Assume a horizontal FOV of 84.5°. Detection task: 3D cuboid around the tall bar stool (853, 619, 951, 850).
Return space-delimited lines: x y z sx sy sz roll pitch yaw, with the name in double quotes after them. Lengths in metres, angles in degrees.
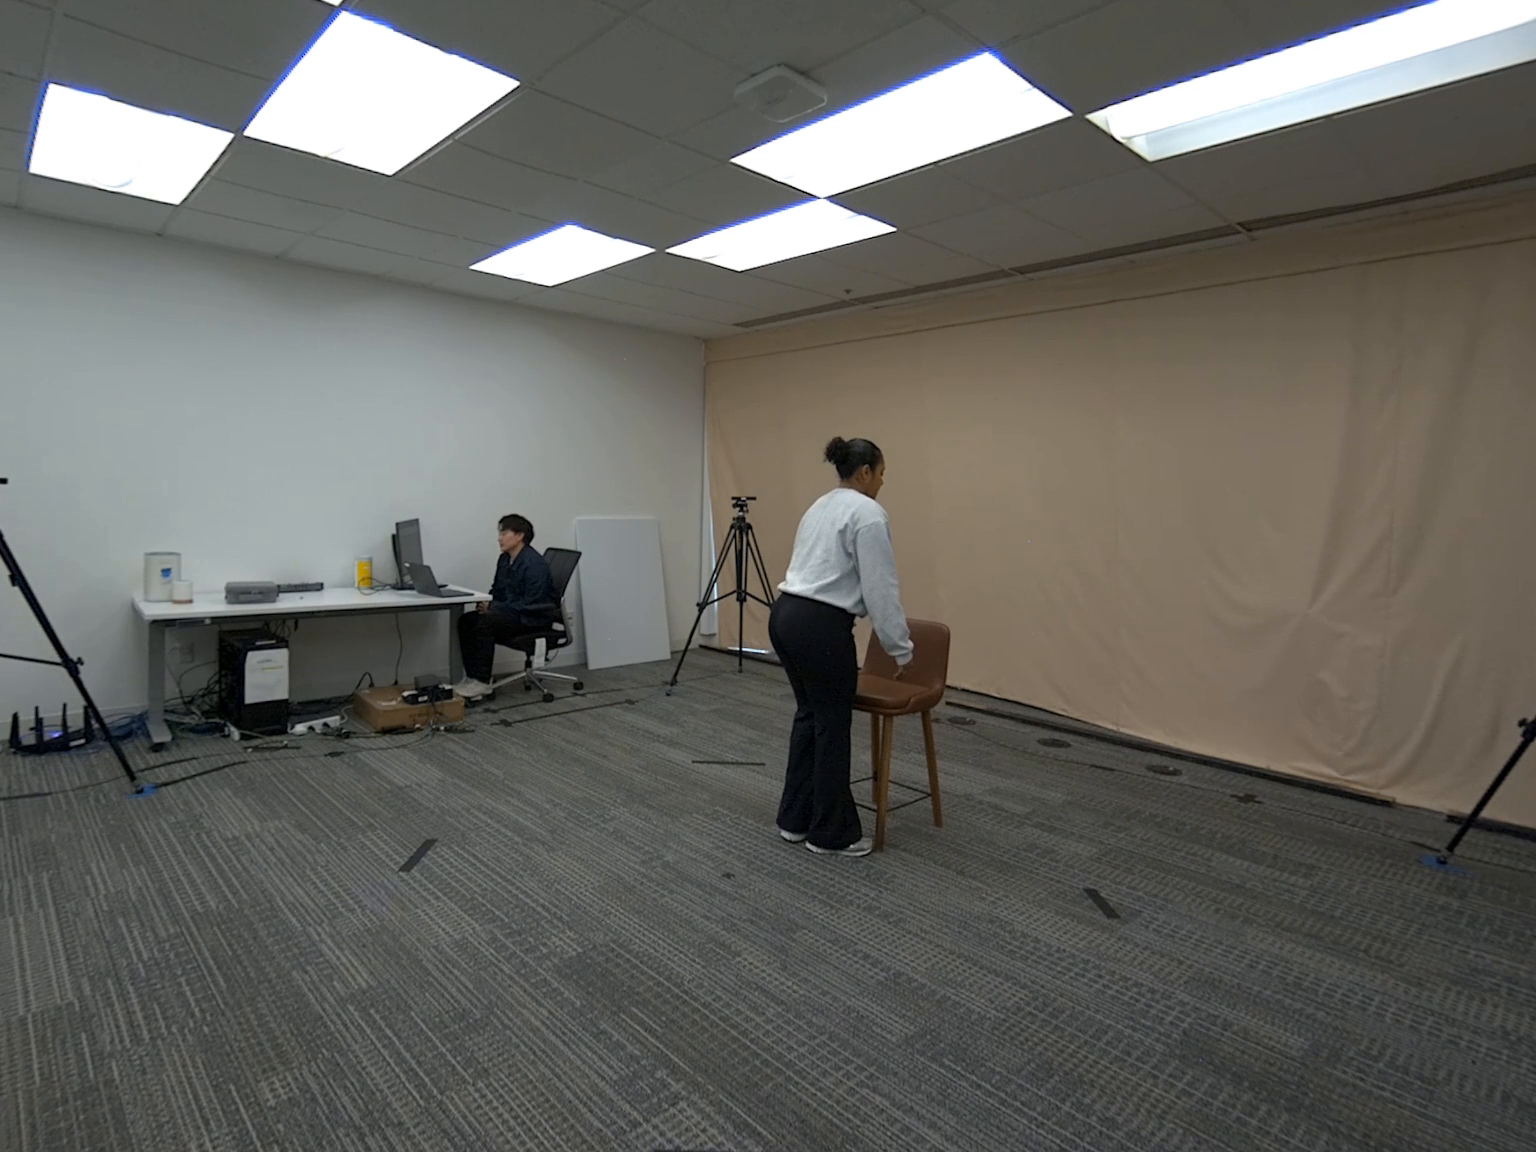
0.472 0.634 3.623 0.456 0.889 0.468 1 2 -41 "tall bar stool"
